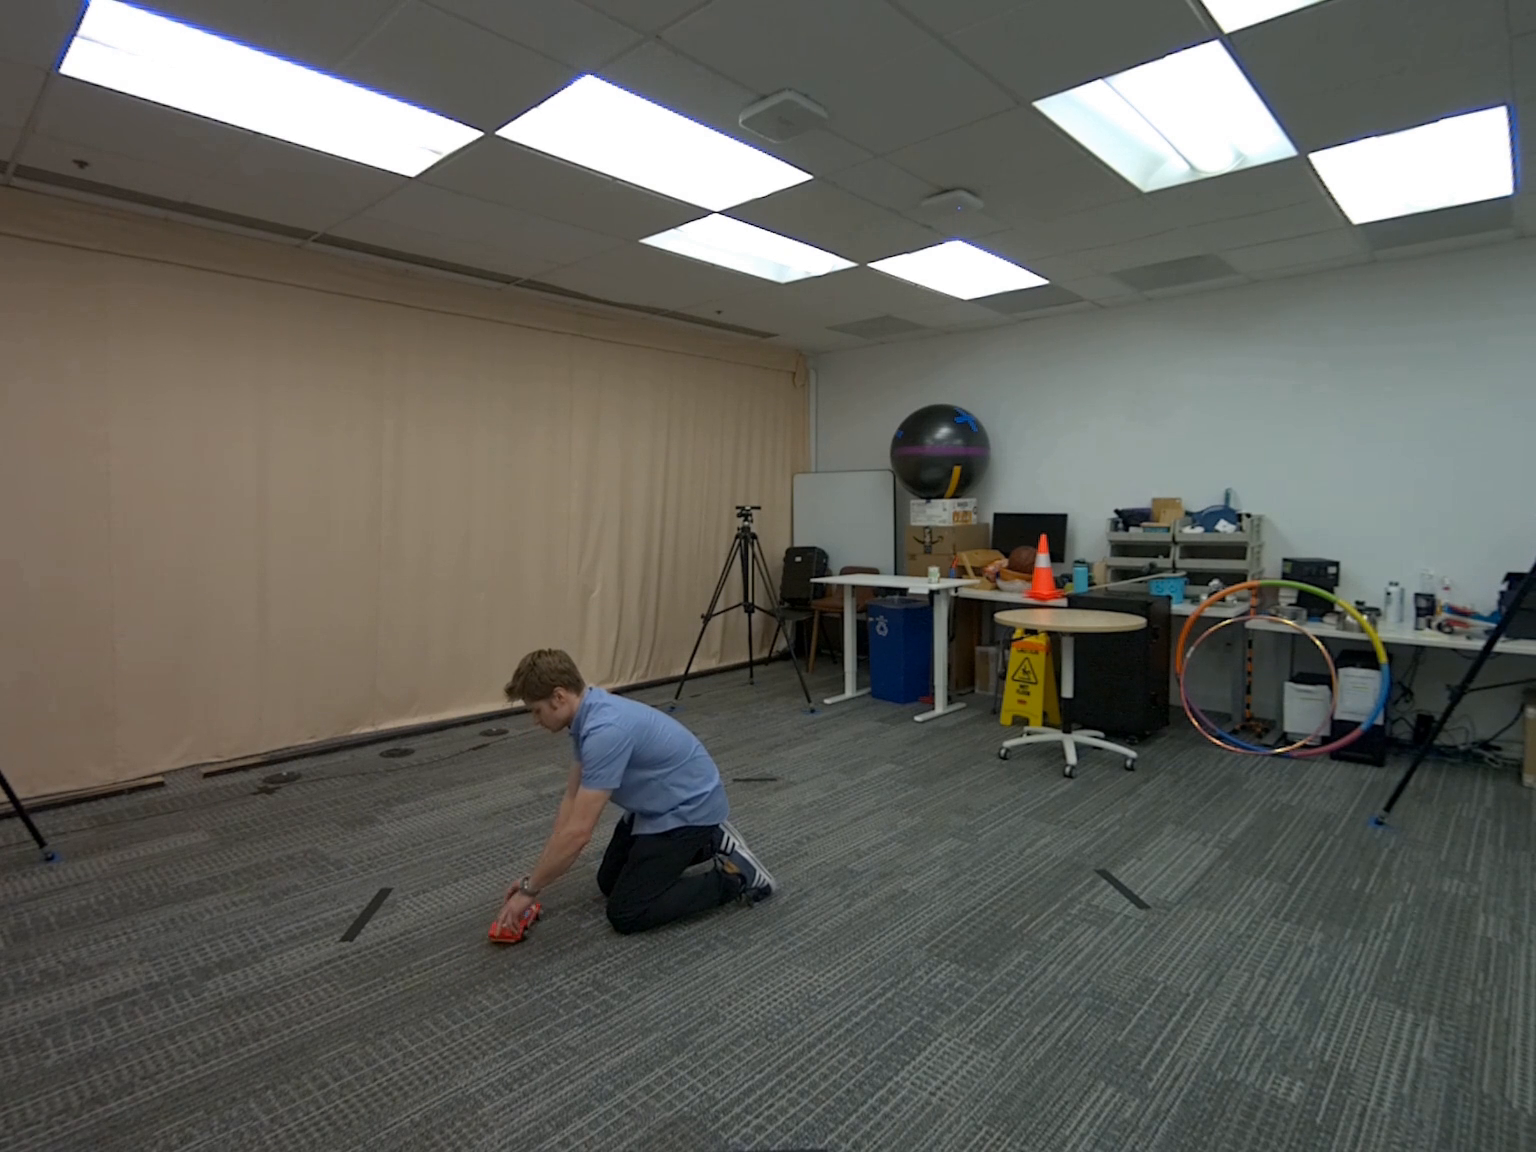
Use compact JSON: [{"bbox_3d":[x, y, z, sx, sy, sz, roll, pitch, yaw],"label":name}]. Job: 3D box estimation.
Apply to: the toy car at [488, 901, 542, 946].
[{"bbox_3d":[-0.828,1.141,2.763,0.131,0.084,0.251,1,-8,6],"label":"toy car"}]
